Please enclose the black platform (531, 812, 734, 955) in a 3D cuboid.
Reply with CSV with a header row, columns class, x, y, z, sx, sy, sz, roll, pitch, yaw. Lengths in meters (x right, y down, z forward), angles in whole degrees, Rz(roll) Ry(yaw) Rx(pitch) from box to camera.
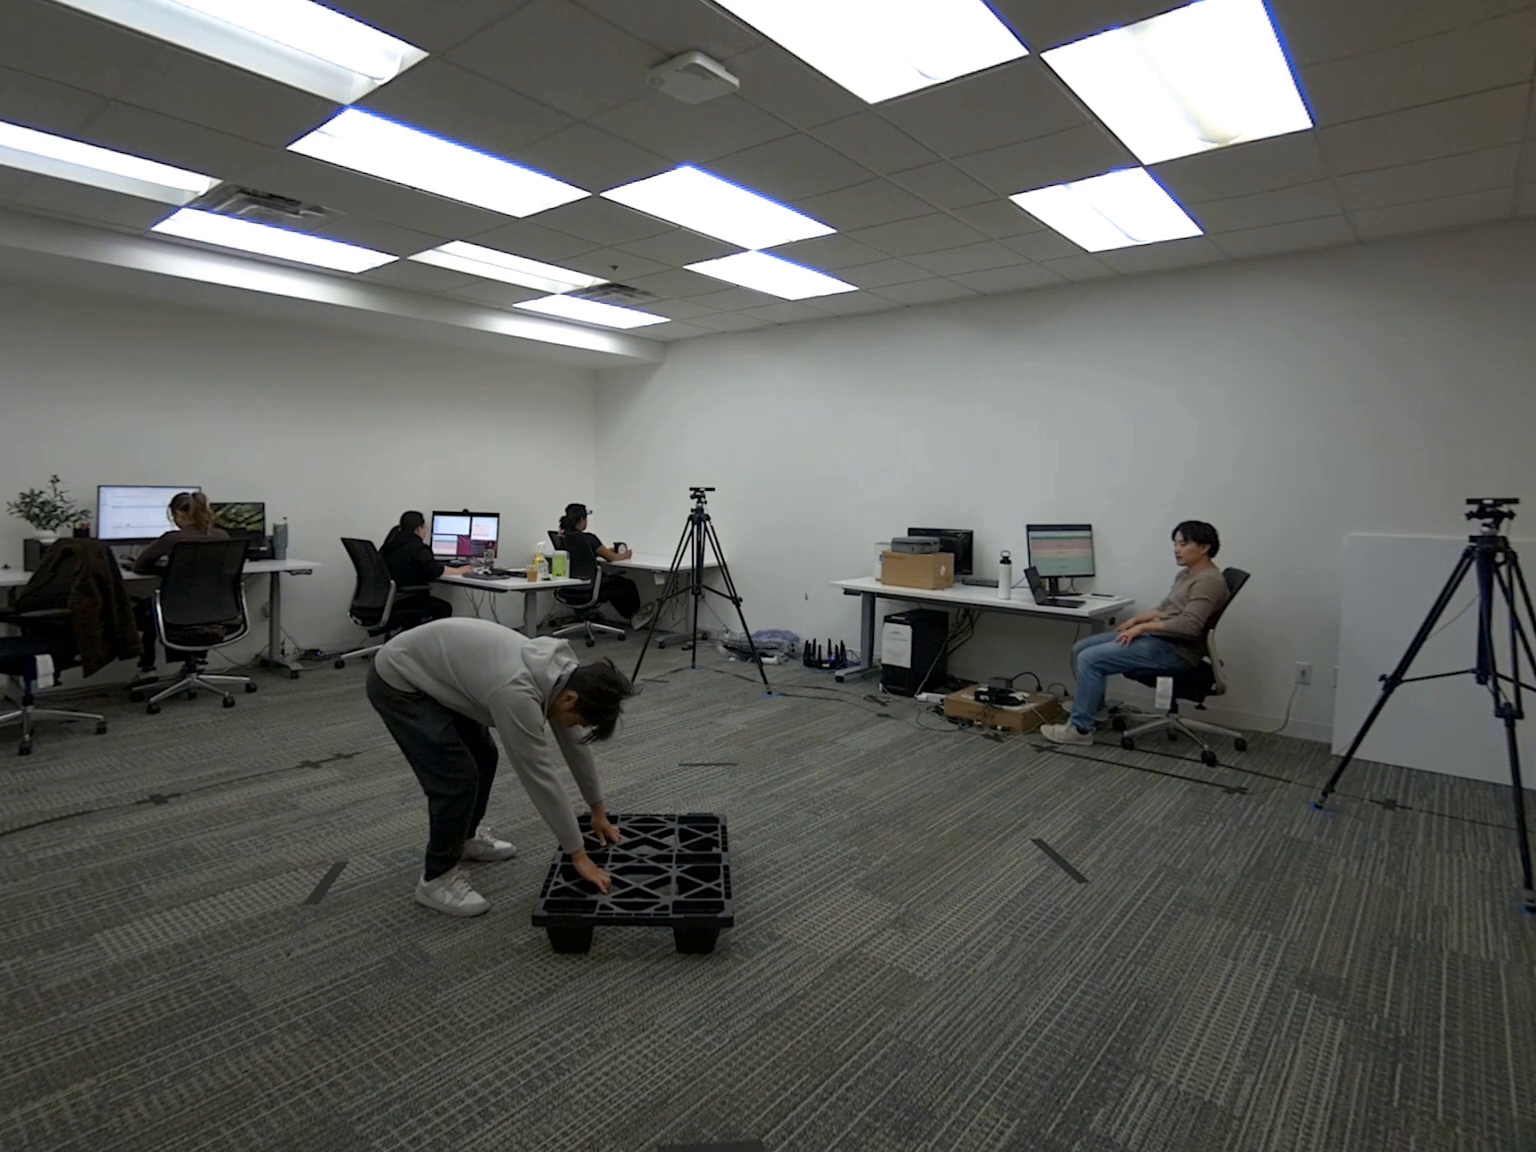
class,x,y,z,sx,sy,sz,roll,pitch,yaw
black platform,-0.445,1.013,2.887,0.604,0.143,0.811,0,5,-3
